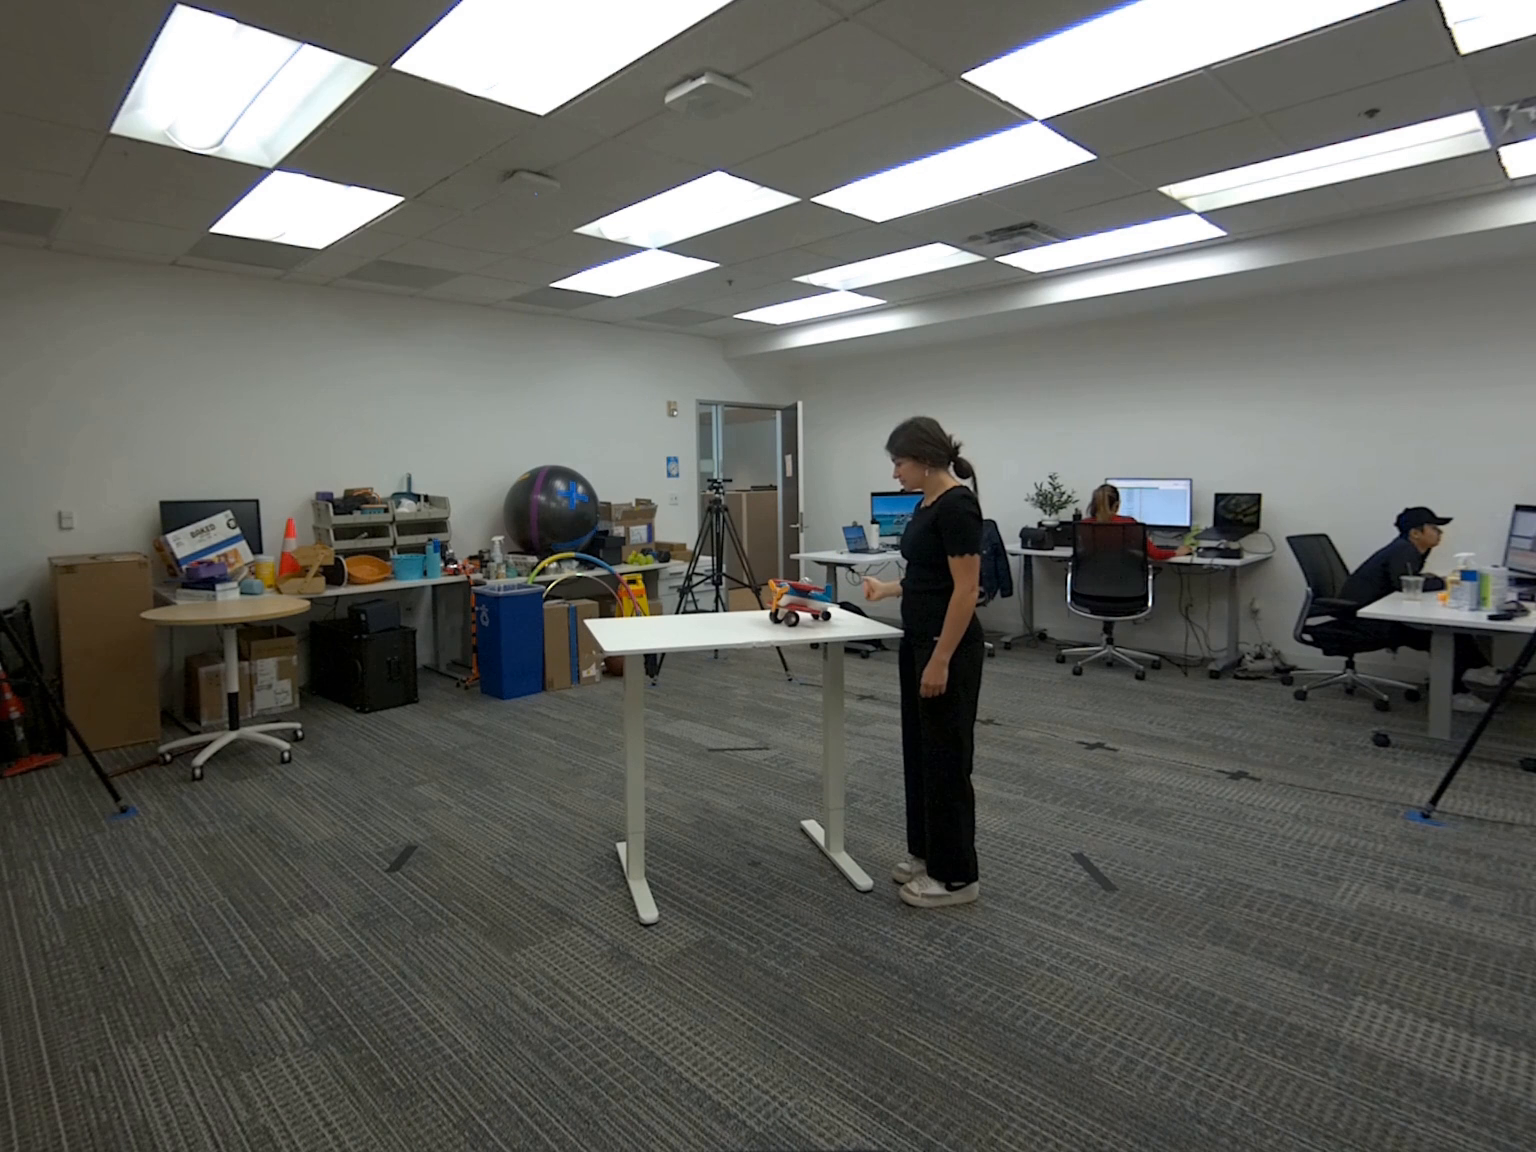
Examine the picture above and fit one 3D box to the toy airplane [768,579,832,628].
[{"bbox_3d":[0.115,0.088,3.066,0.257,0.155,0.254,4,8,28],"label":"toy airplane"}]
